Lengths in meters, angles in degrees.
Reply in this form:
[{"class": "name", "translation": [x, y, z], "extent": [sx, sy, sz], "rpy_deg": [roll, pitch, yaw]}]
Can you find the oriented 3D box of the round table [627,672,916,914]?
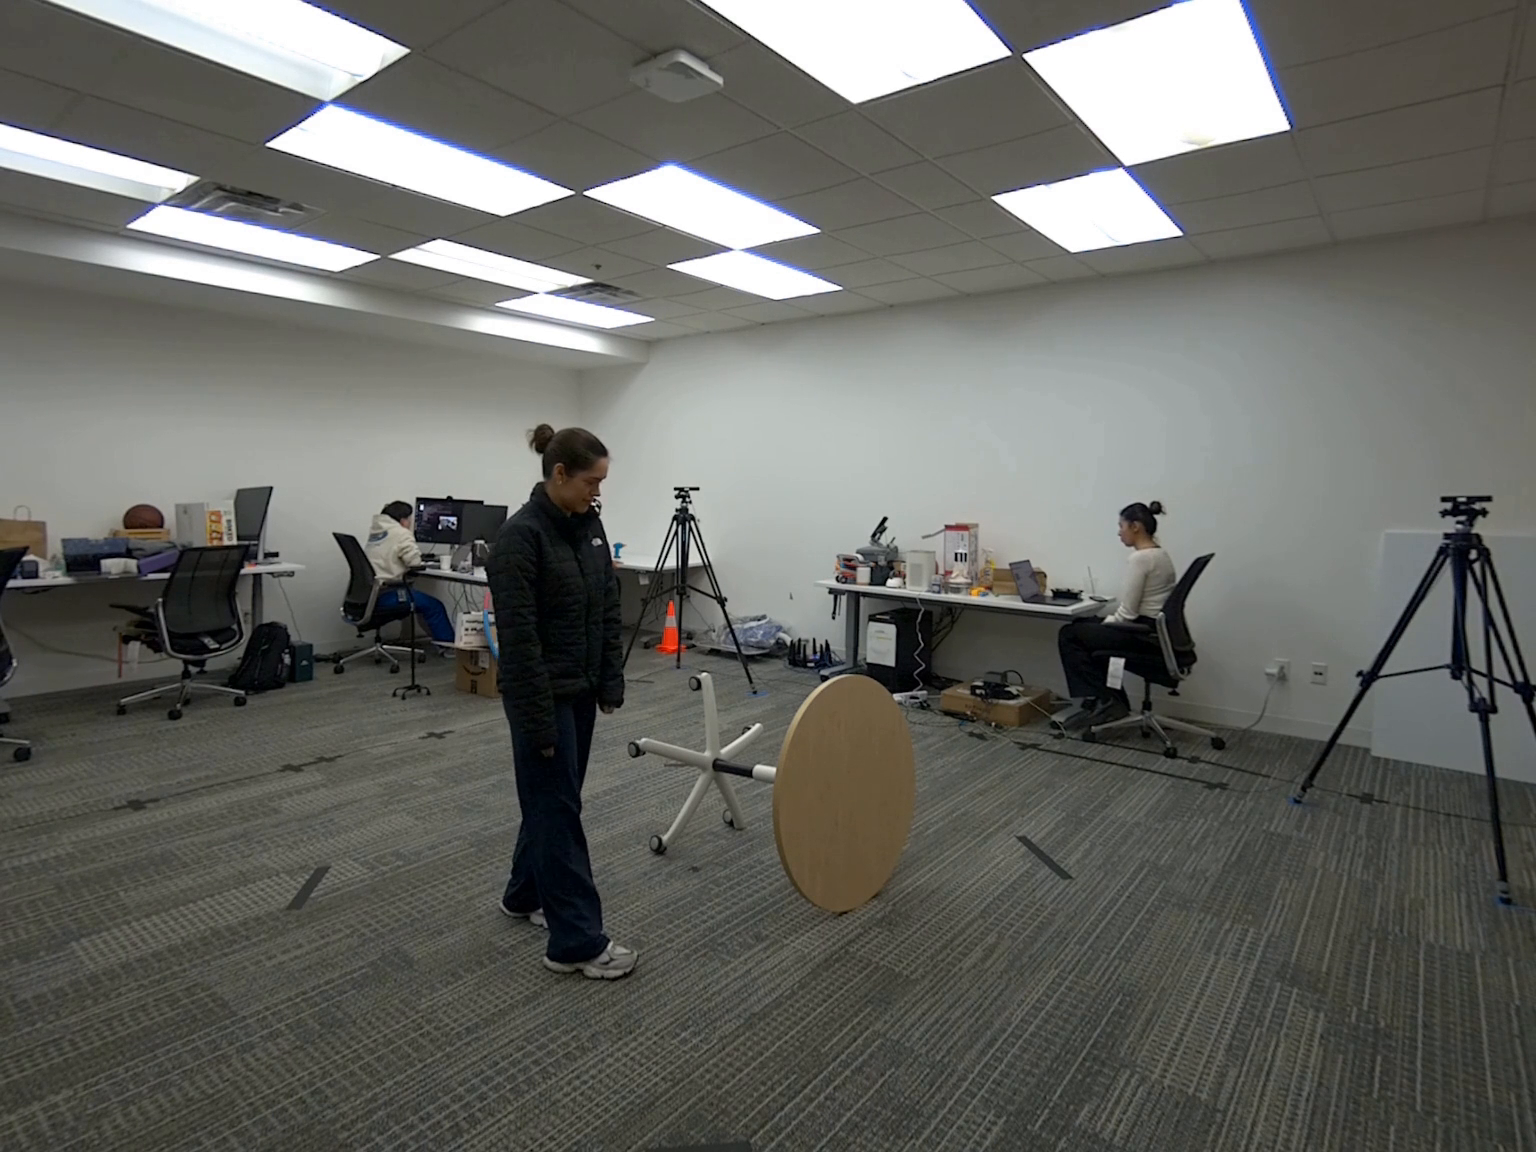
[{"class": "round table", "translation": [0.010, 0.727, 3.160], "extent": [0.810, 0.785, 0.761], "rpy_deg": [-2, 1, 44]}]
